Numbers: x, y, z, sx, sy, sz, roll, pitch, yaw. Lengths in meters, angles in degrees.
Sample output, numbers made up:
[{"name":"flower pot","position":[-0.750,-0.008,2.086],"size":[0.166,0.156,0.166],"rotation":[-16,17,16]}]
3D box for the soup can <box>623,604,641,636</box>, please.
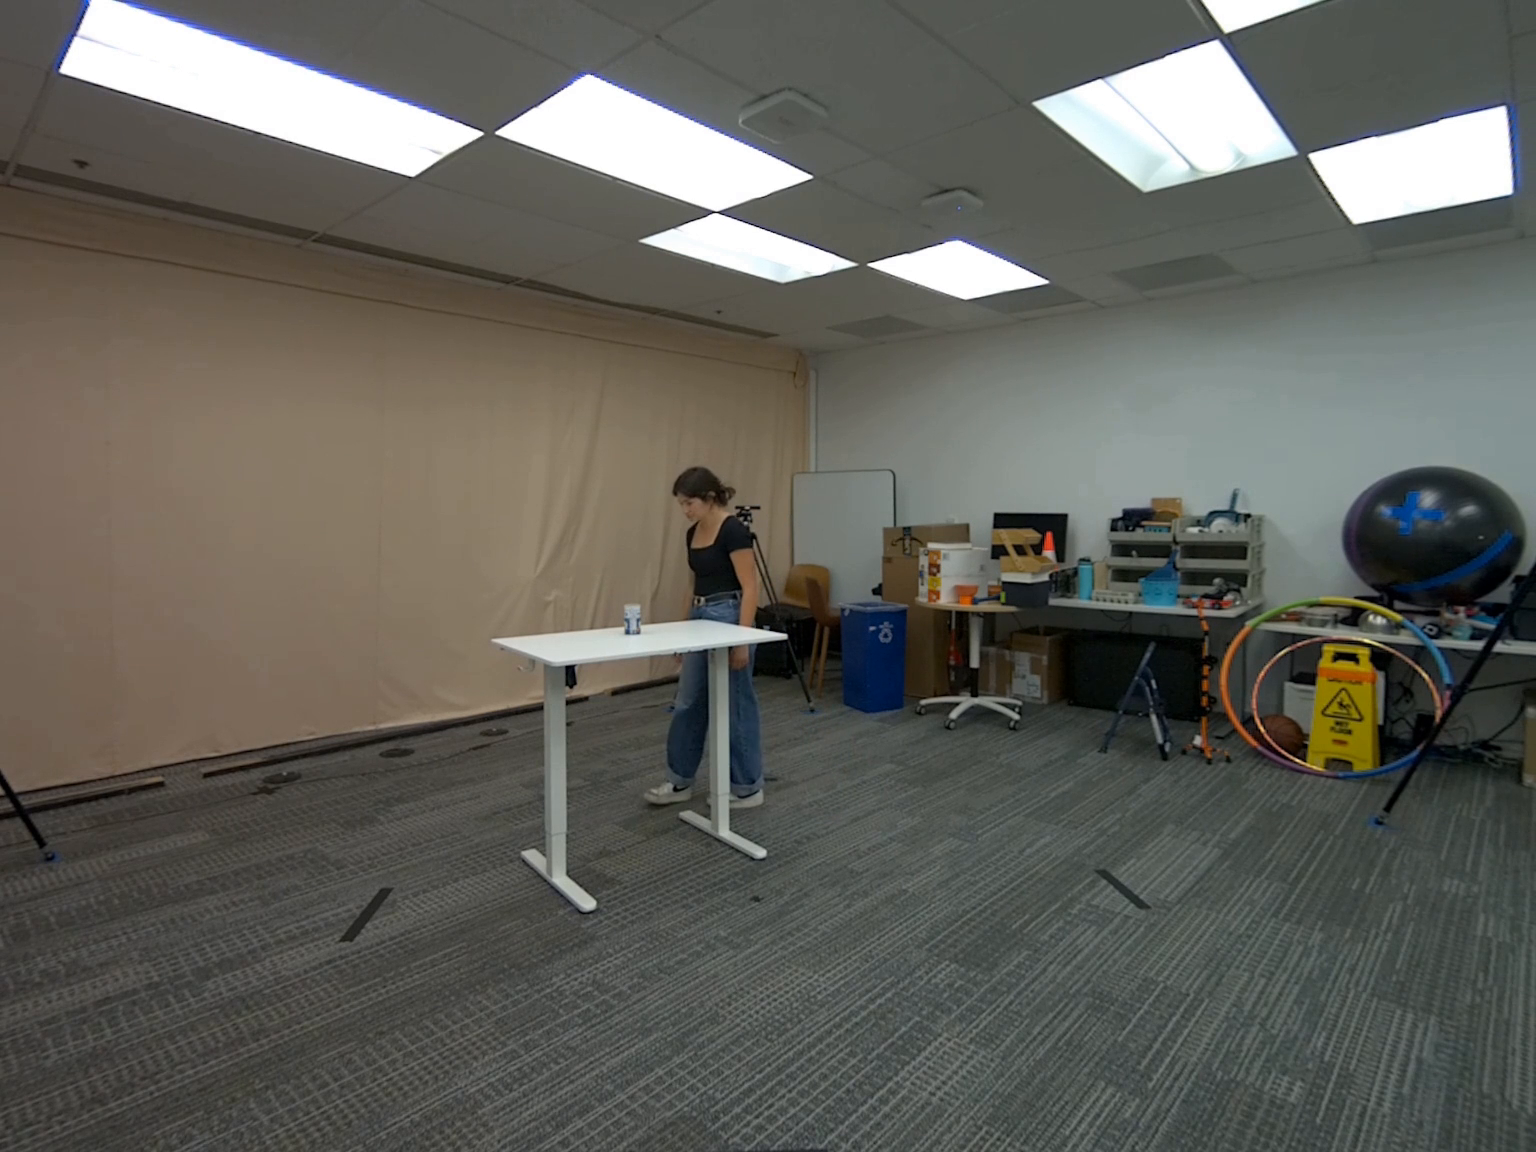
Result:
[{"name":"soup can","position":[-0.549,0.174,3.383],"size":[0.067,0.121,0.067],"rotation":[0,4,-2]}]
